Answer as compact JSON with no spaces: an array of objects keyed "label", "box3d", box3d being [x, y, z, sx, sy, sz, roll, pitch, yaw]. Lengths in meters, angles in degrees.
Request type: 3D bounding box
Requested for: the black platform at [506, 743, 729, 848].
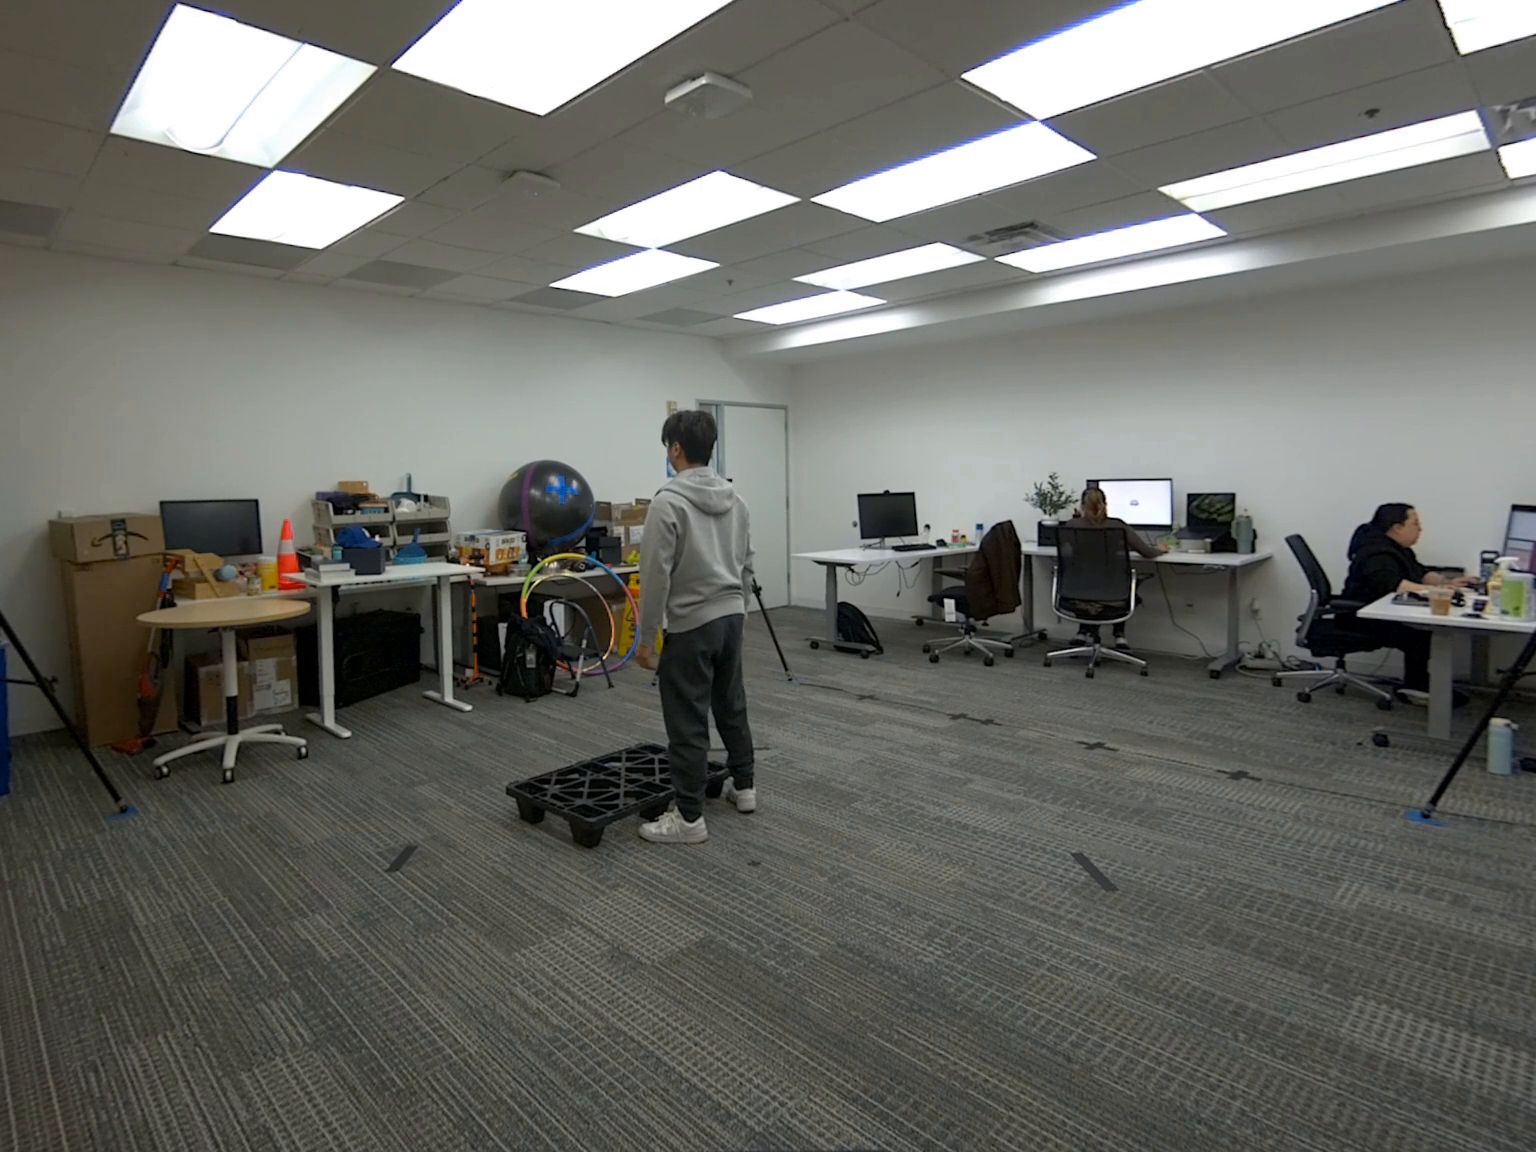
[{"label":"black platform","box3d":[-0.616,0.928,3.672,0.624,0.142,0.785,4,9,41]}]
